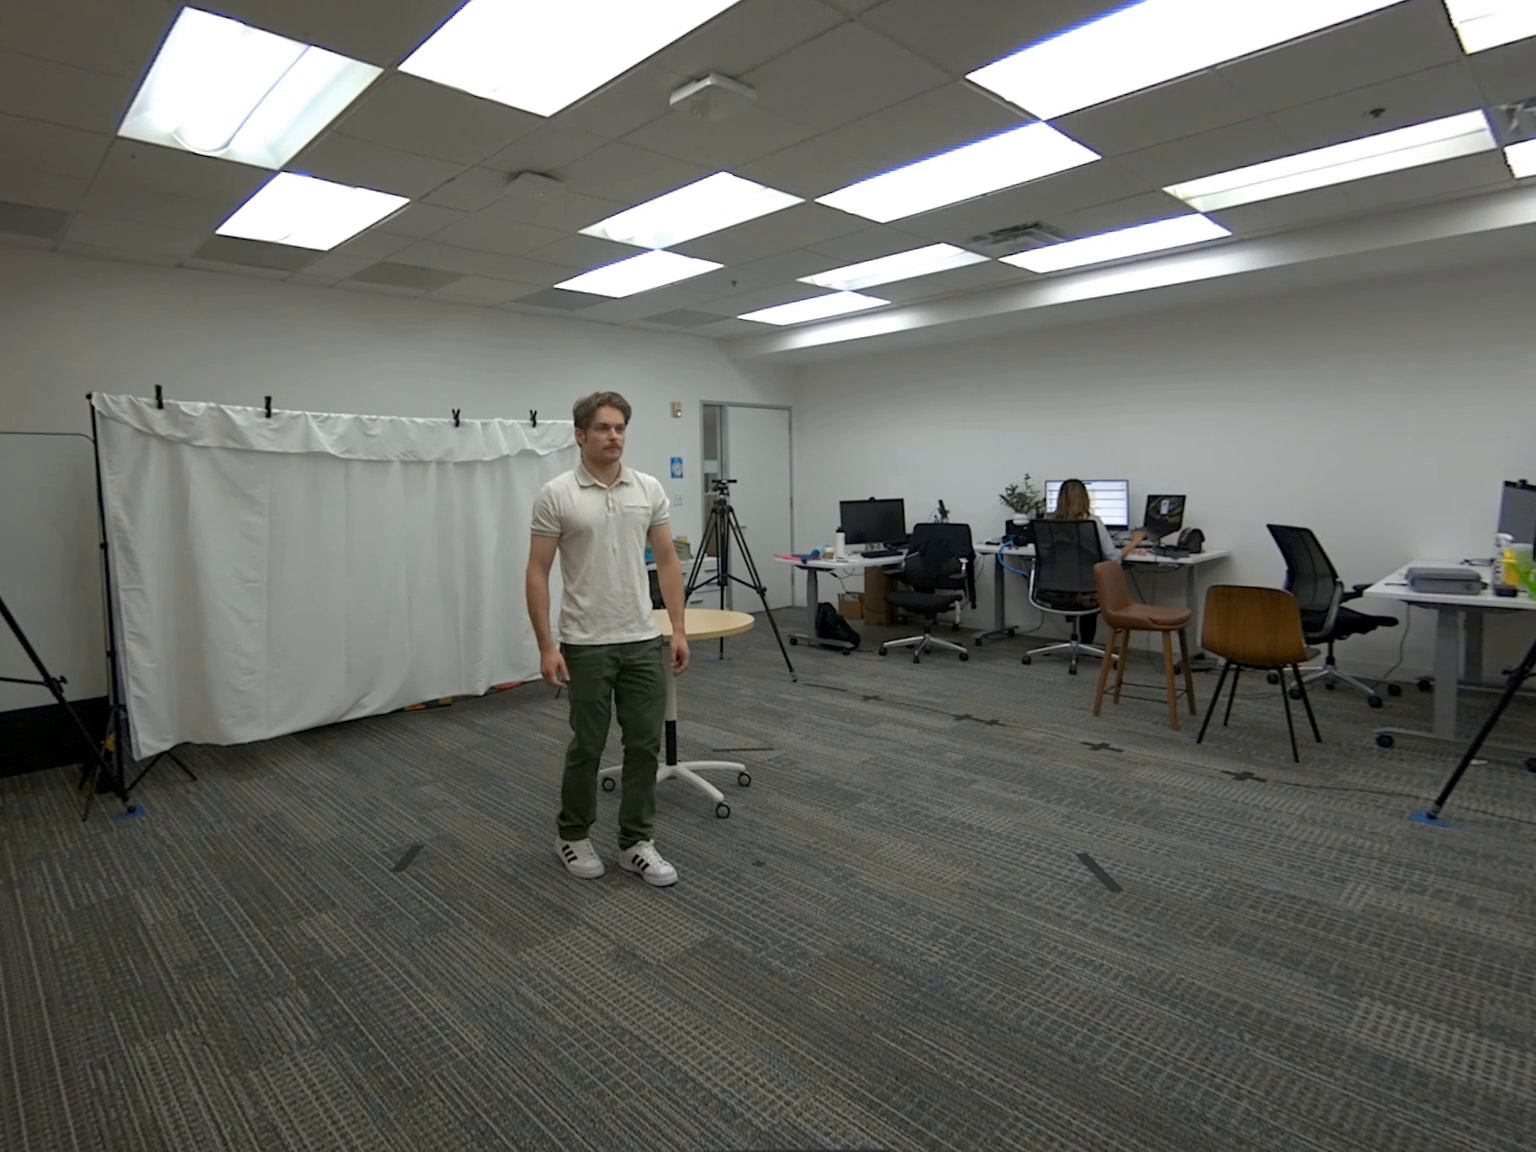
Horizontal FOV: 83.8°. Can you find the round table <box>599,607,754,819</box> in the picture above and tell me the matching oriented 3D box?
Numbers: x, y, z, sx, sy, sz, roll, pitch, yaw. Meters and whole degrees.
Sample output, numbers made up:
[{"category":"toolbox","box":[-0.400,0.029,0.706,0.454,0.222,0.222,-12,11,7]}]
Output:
[{"category":"round table","box":[-0.439,0.587,3.778,0.784,0.784,0.788,-2,4,-2]}]
